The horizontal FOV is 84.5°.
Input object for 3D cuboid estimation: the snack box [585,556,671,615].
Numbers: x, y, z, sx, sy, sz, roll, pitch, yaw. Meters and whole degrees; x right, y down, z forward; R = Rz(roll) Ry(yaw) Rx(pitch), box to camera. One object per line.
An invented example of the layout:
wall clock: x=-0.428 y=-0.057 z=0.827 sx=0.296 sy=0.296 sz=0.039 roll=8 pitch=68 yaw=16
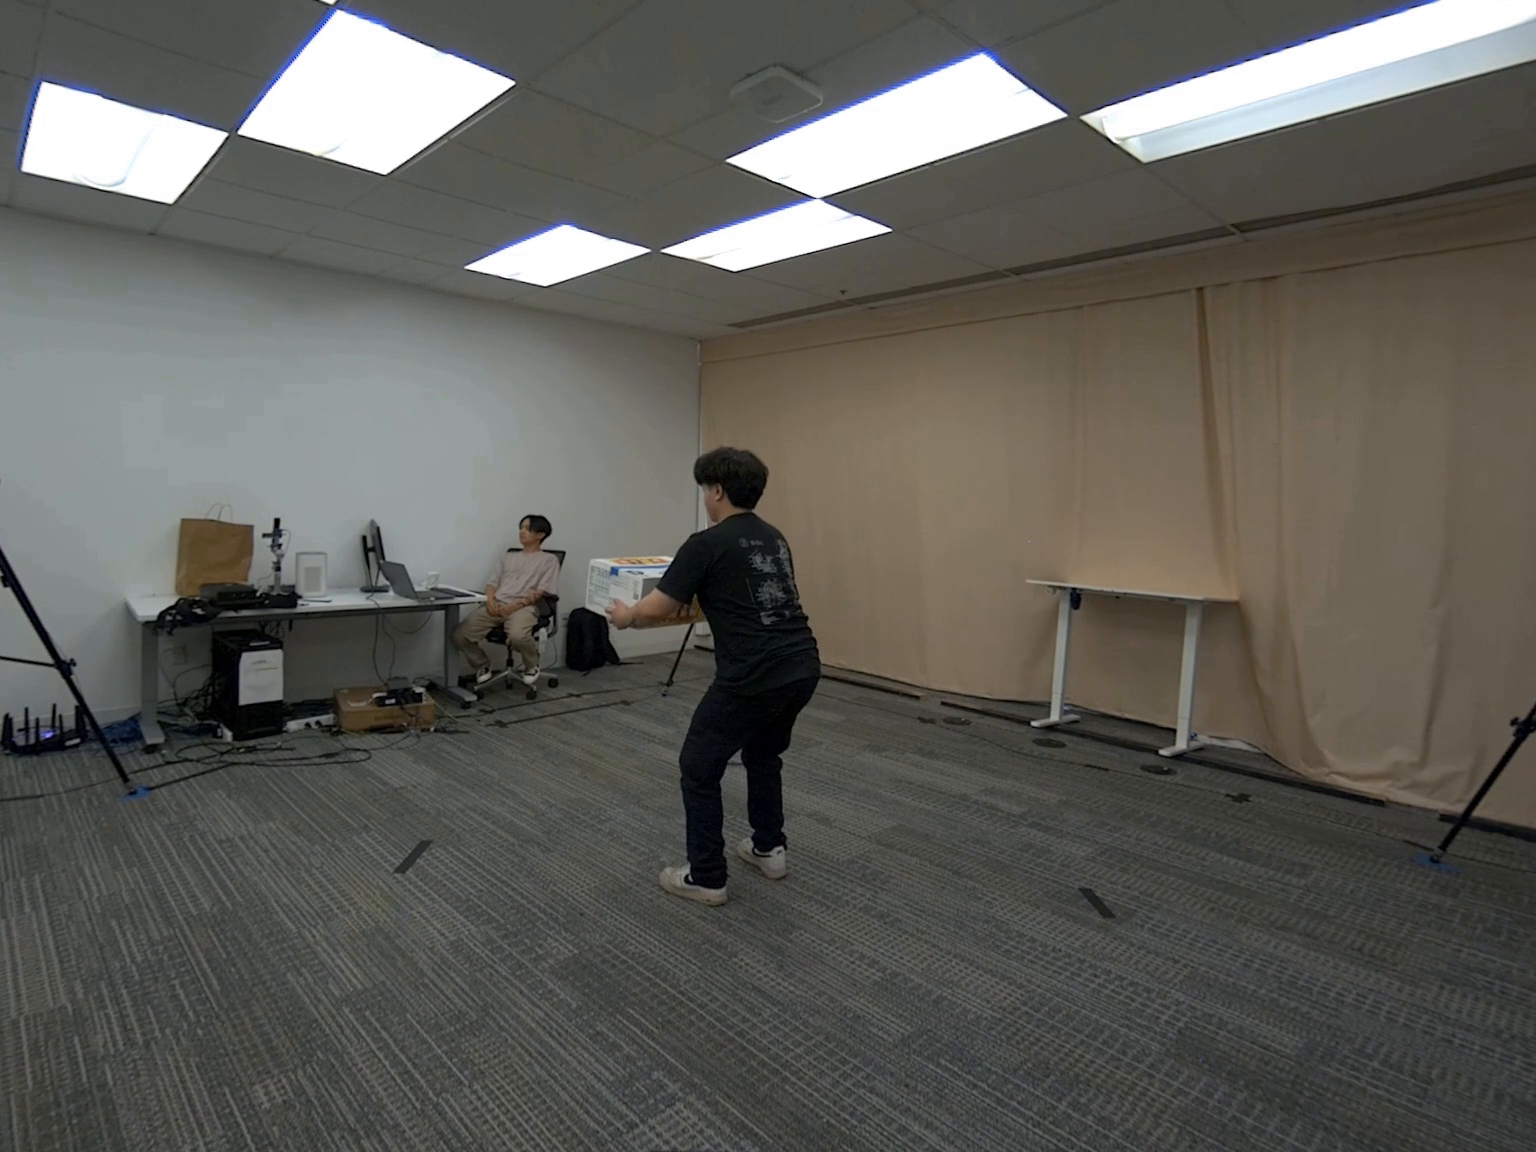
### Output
snack box: x=-0.462 y=0.067 z=3.372 sx=0.350 sy=0.204 sz=0.396 roll=15 pitch=13 yaw=42
